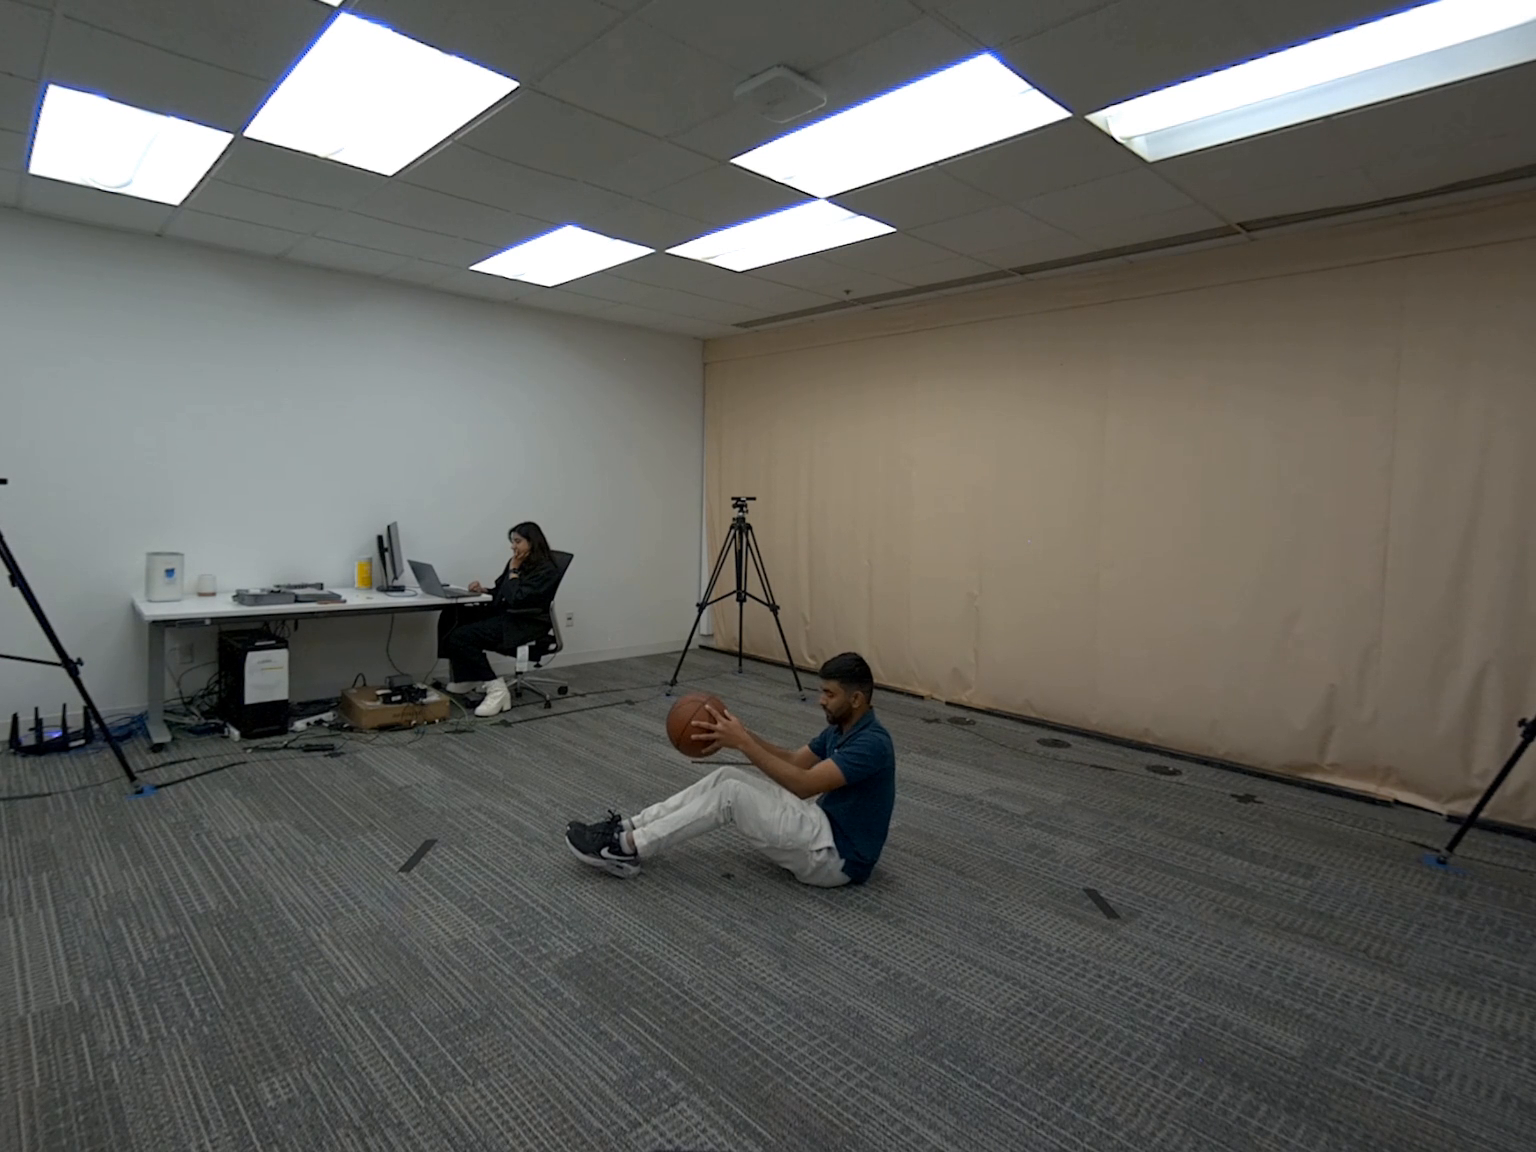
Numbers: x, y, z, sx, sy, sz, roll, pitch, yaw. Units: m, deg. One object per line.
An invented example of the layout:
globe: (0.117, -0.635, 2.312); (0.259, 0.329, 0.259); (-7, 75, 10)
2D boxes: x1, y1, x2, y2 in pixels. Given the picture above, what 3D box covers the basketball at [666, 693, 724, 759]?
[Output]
basketball: (-0.255, 0.551, 3.110); (0.236, 0.235, 0.237); (1, 4, -1)
